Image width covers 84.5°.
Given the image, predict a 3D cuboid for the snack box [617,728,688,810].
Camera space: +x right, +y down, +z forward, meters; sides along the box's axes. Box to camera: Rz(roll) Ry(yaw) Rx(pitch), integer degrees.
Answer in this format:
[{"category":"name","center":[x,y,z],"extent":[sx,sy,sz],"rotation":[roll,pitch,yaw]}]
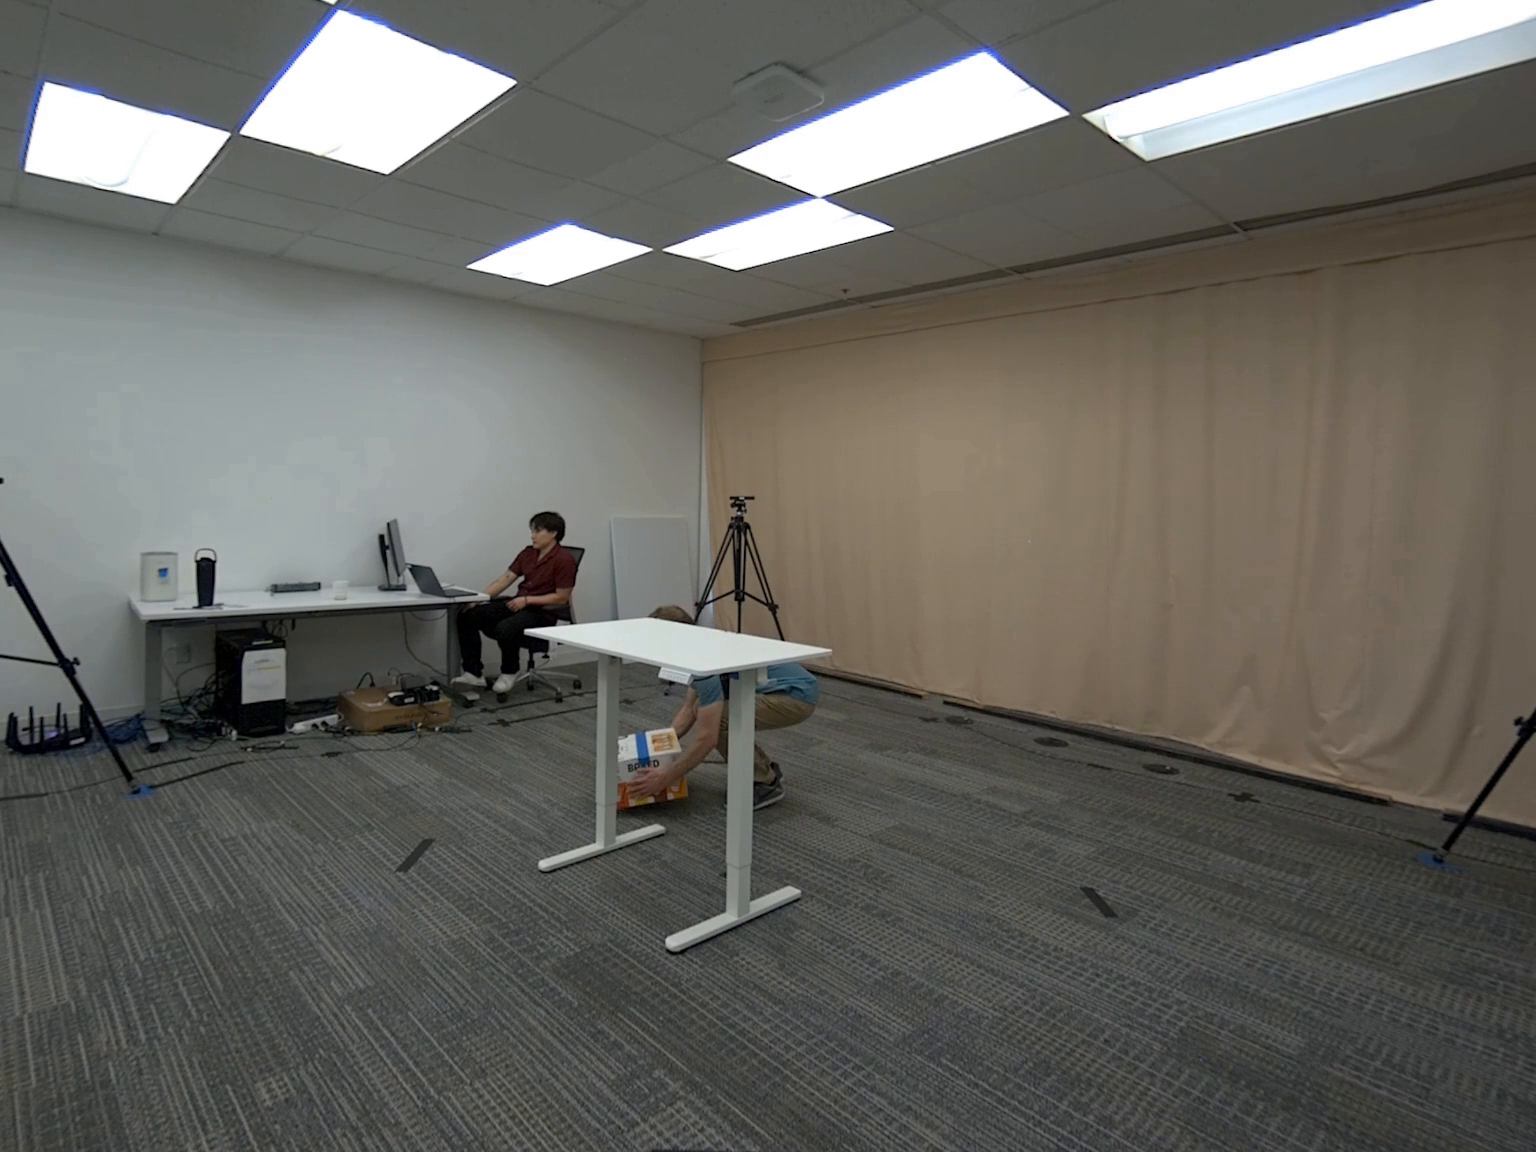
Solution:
[{"category":"snack box","center":[-0.574,0.865,3.837],"extent":[0.338,0.205,0.409],"rotation":[-8,6,-10]}]
